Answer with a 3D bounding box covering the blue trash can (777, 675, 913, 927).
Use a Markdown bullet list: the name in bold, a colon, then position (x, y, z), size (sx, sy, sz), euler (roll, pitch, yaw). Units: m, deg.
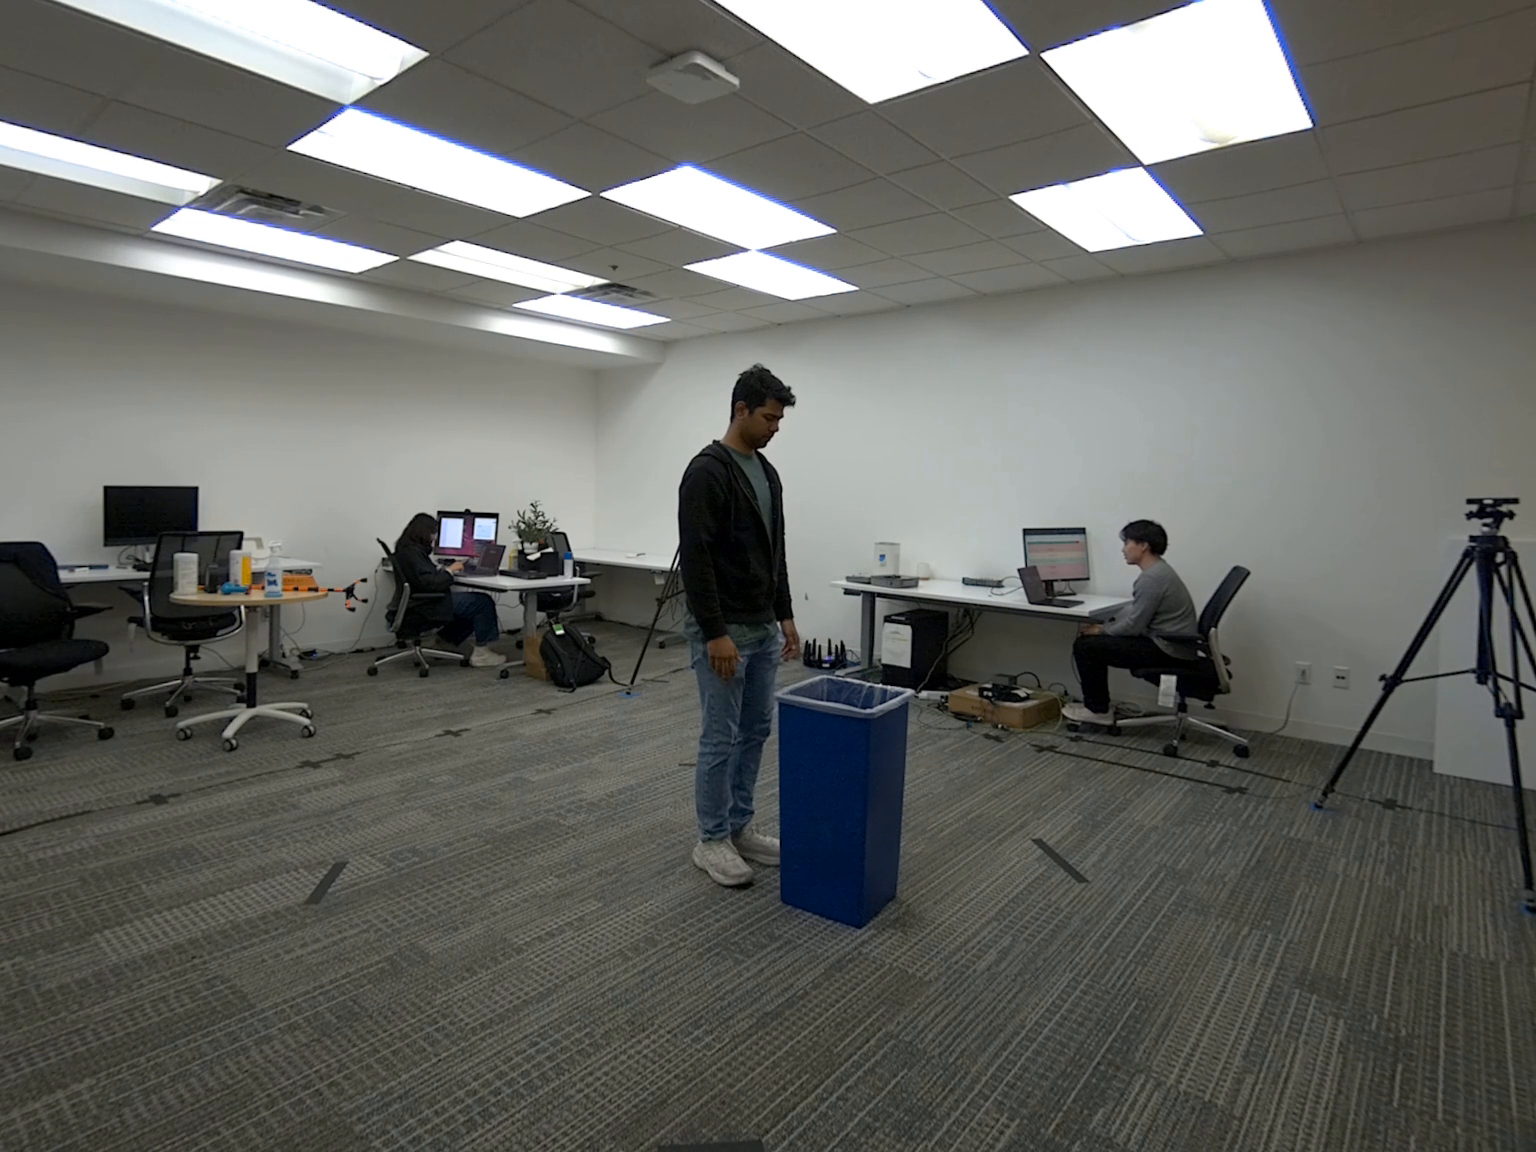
- **blue trash can**: position (0.243, 0.741, 2.875), size (0.390, 0.712, 0.364), euler (3, 4, 32)
